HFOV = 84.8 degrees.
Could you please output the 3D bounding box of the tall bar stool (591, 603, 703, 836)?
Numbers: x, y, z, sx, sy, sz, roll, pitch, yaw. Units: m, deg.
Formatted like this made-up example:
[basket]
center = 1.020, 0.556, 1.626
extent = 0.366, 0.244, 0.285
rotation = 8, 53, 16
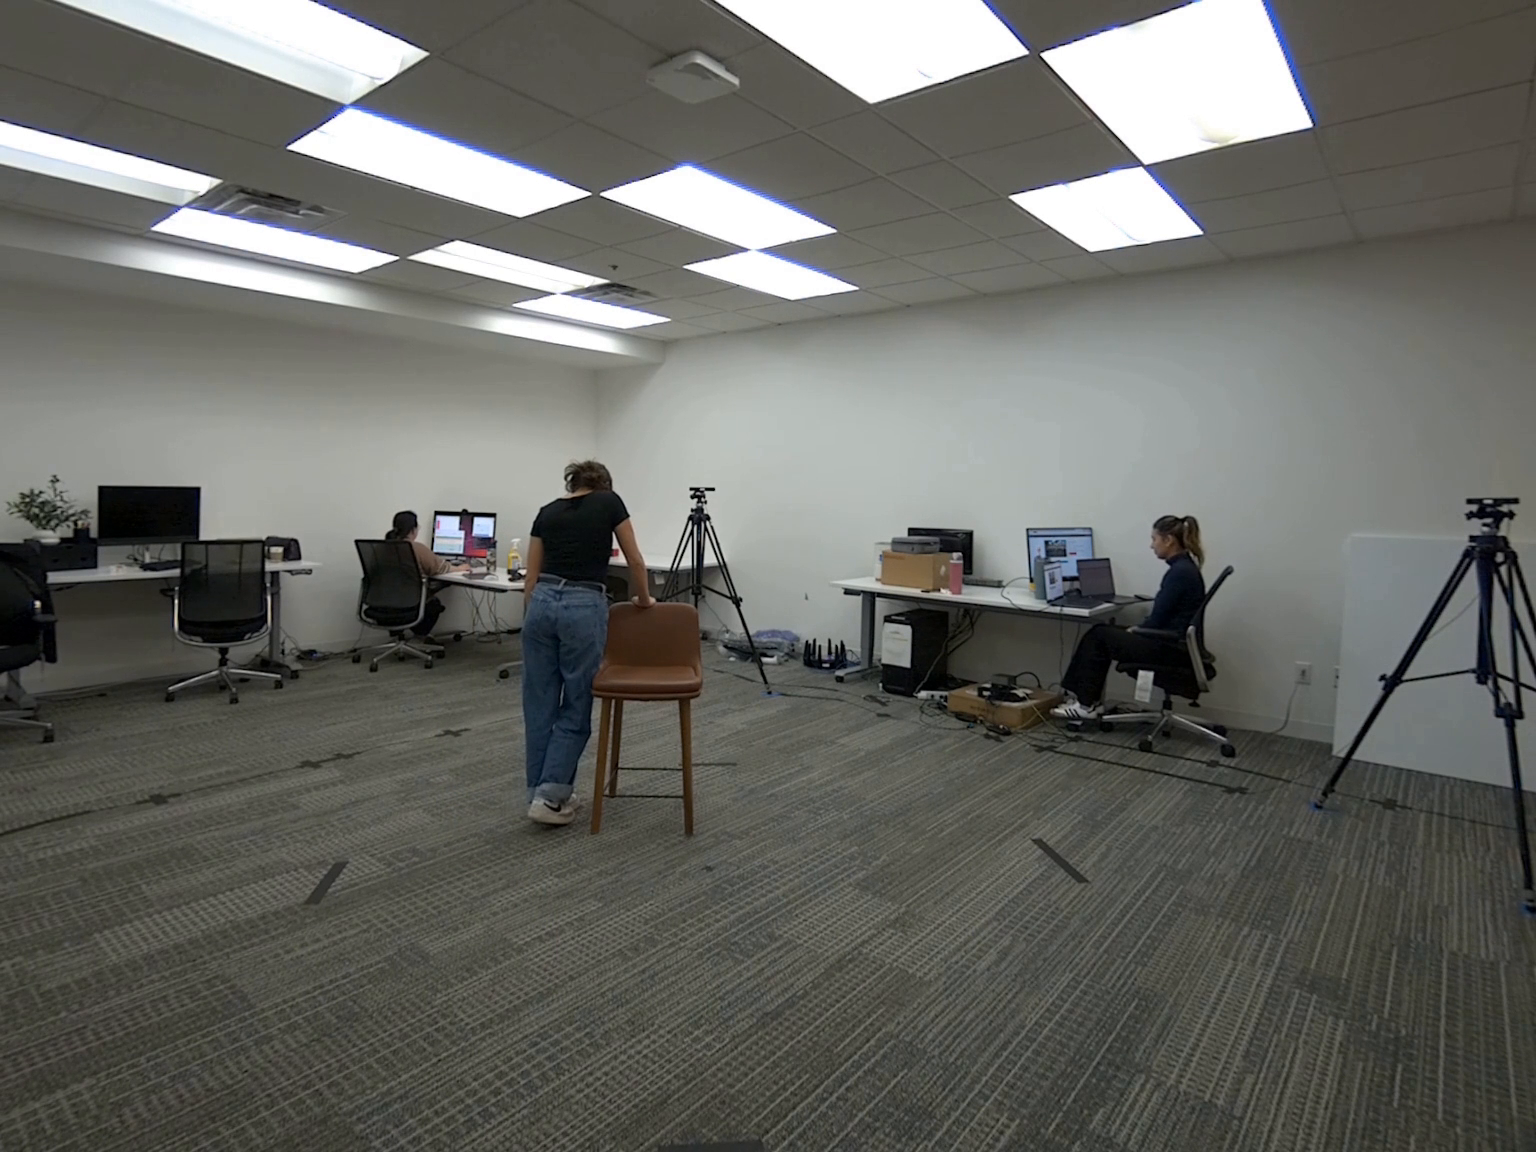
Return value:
[tall bar stool]
center = -0.518, 0.577, 3.612
extent = 0.456, 0.889, 0.468
rotation = 0, 1, -2
